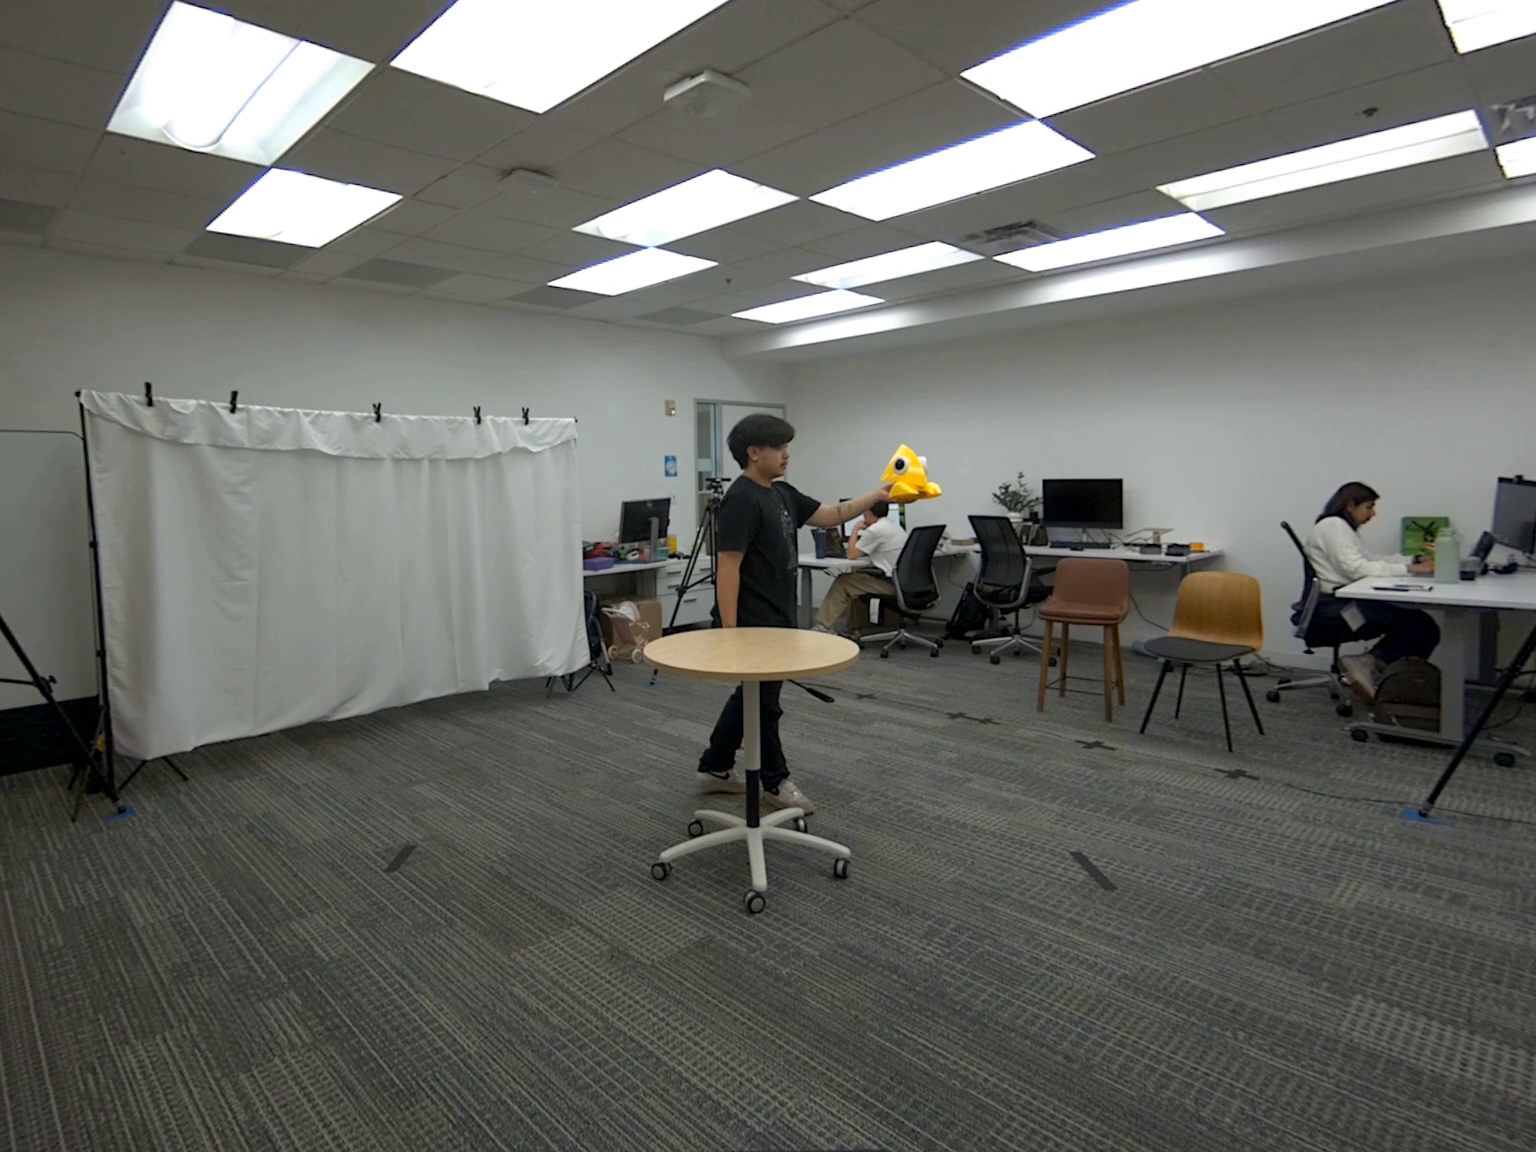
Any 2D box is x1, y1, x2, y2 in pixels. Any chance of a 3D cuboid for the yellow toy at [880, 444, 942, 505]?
[{"bbox_3d":[0.589,-0.438,3.481,0.201,0.232,0.196,0,-6,-22],"label":"yellow toy"}]
